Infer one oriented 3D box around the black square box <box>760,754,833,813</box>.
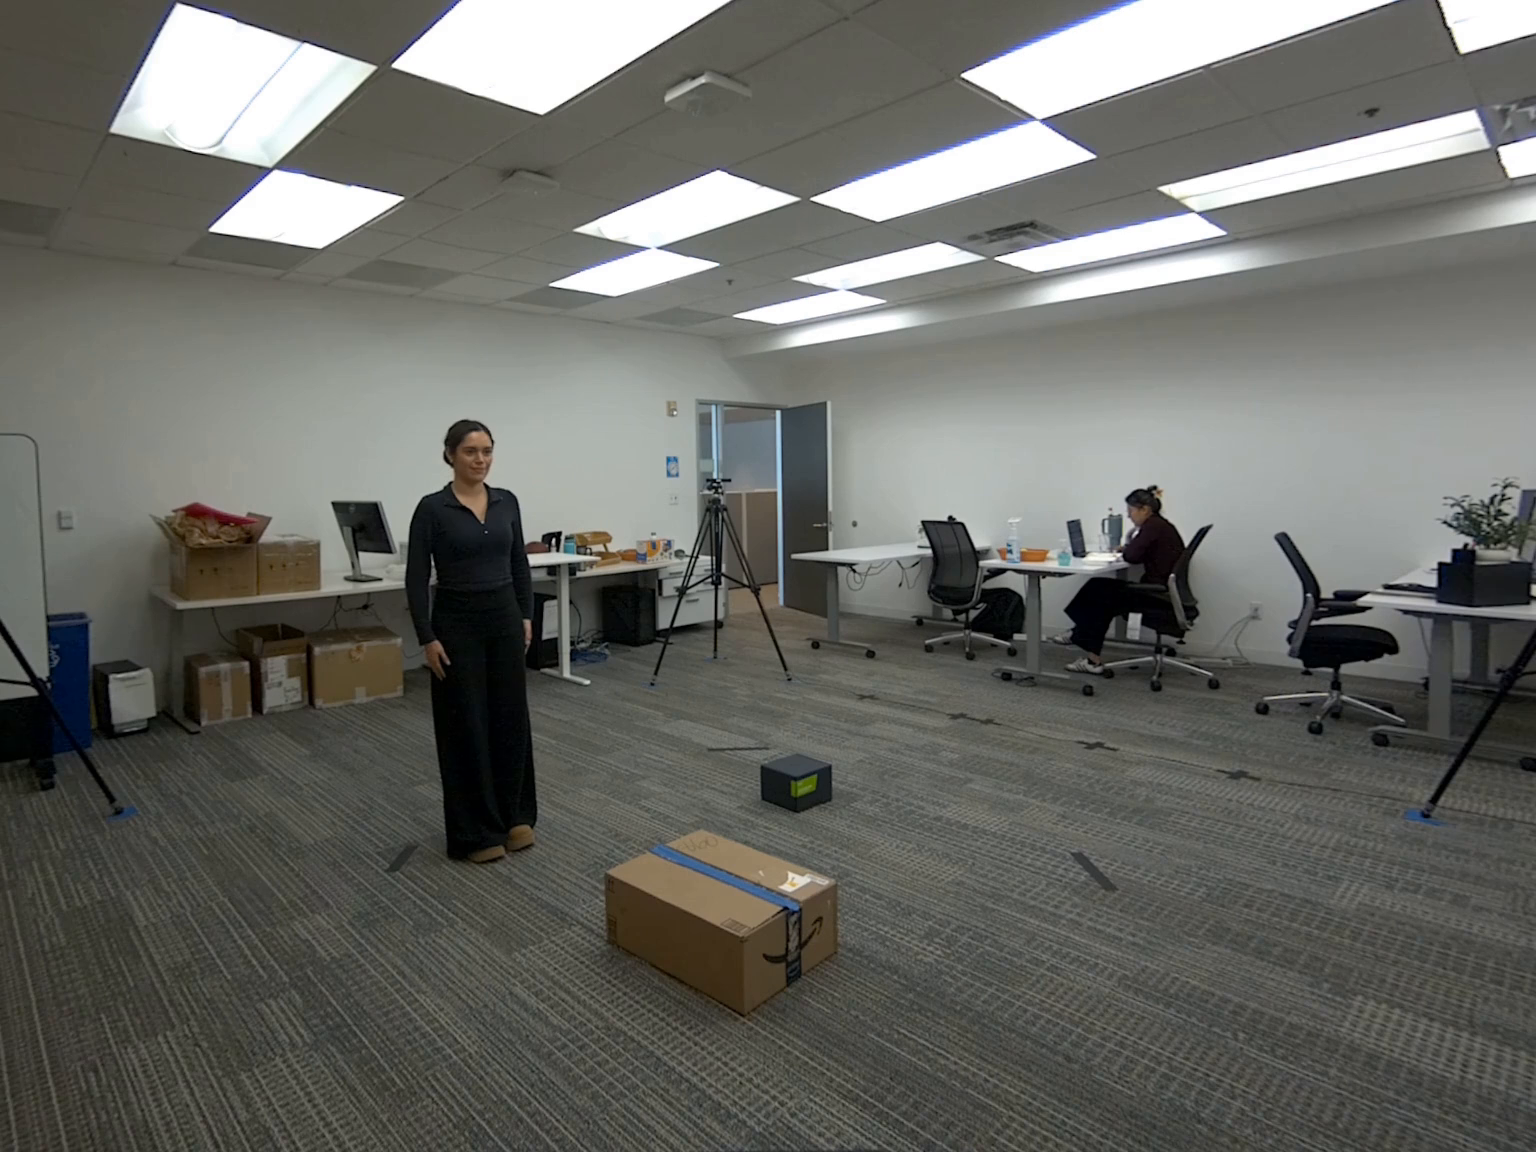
[{"bbox_3d":[0.125,0.889,3.704,0.222,0.155,0.224,-6,7,-43],"label":"black square box"}]
